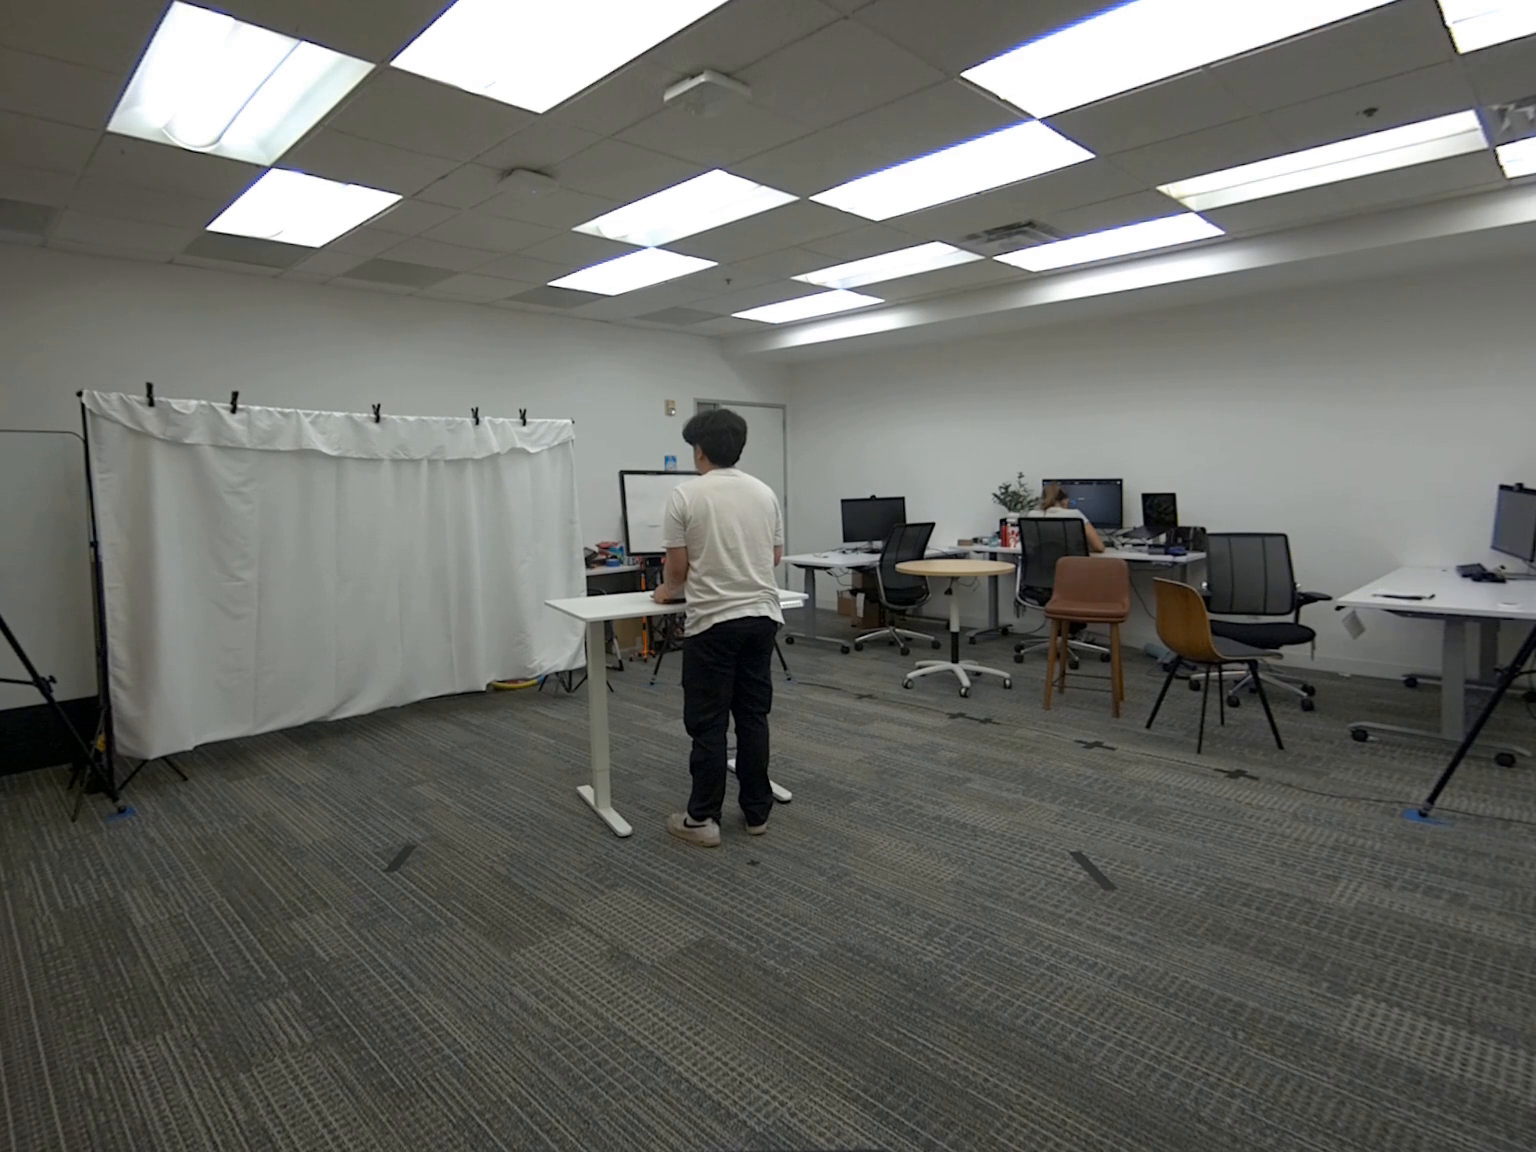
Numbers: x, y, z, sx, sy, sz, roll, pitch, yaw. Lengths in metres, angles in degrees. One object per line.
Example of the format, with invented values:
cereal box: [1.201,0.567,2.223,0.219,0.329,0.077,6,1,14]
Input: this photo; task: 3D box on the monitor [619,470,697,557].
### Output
monitor: [-0.372,-0.173,3.670,0.553,0.556,0.214,-3,-4,-26]
